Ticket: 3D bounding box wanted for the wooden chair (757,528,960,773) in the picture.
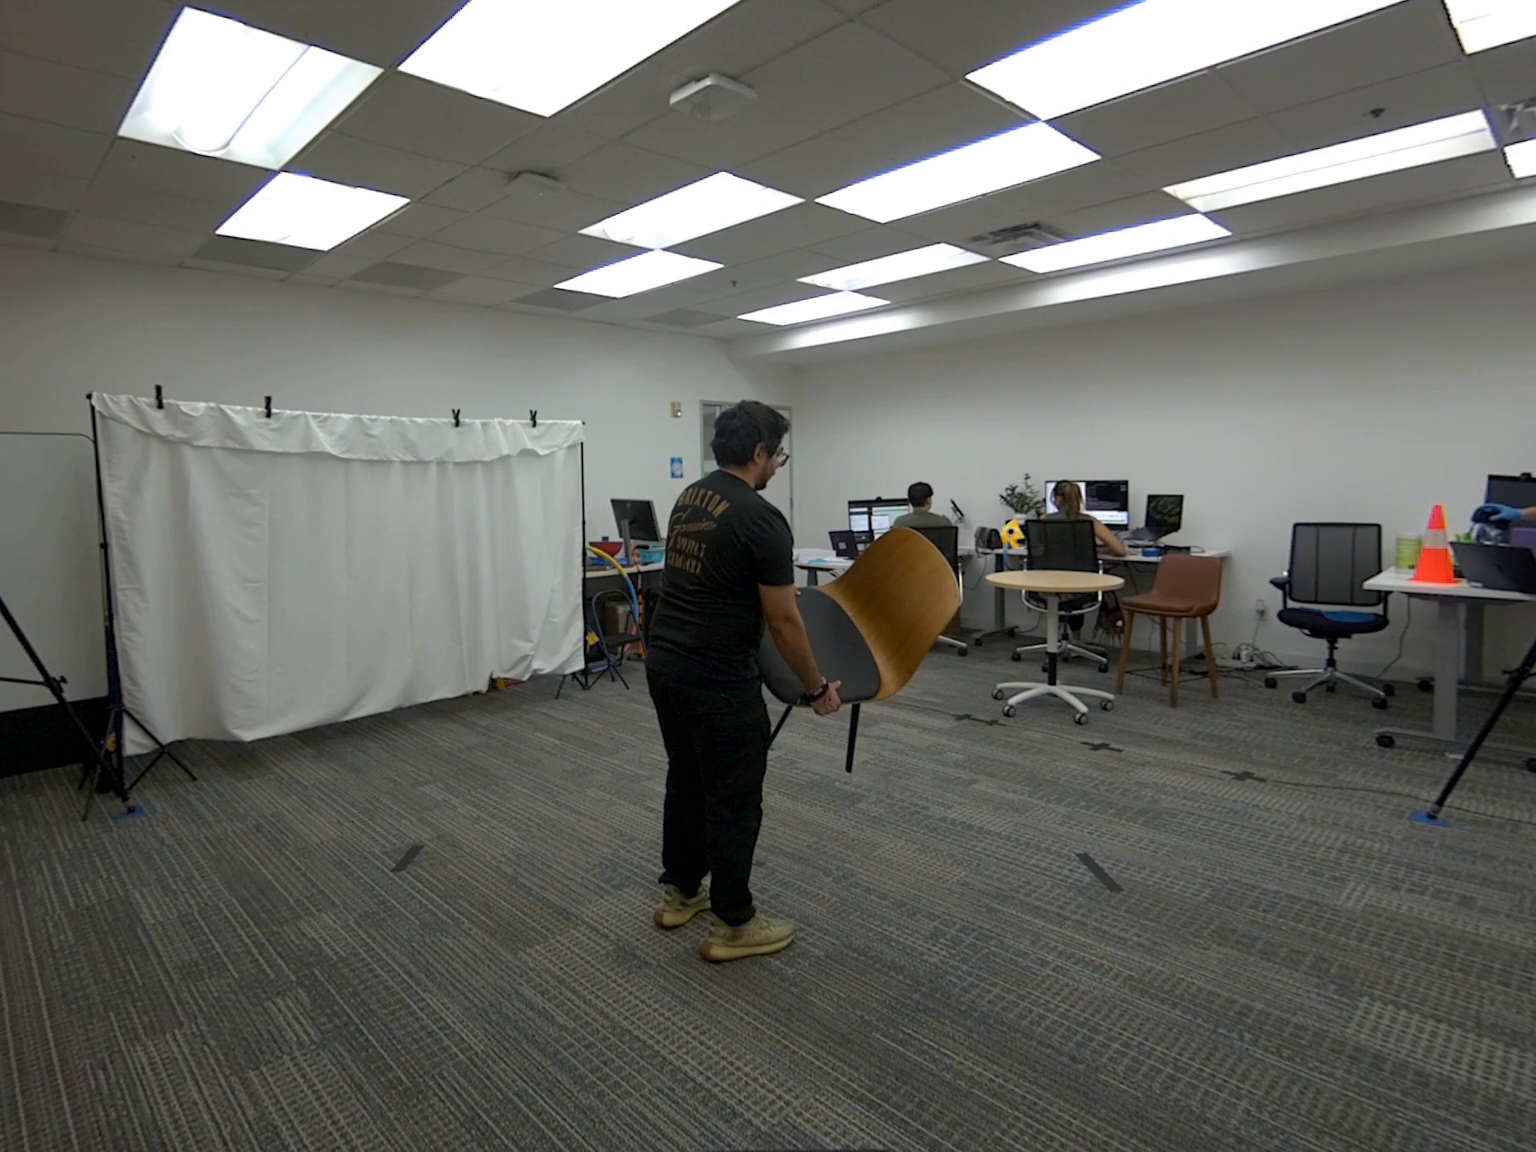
[{"bbox_3d":[0.161,0.249,2.774,0.509,0.869,0.496,2,44,-34],"label":"wooden chair"}]
